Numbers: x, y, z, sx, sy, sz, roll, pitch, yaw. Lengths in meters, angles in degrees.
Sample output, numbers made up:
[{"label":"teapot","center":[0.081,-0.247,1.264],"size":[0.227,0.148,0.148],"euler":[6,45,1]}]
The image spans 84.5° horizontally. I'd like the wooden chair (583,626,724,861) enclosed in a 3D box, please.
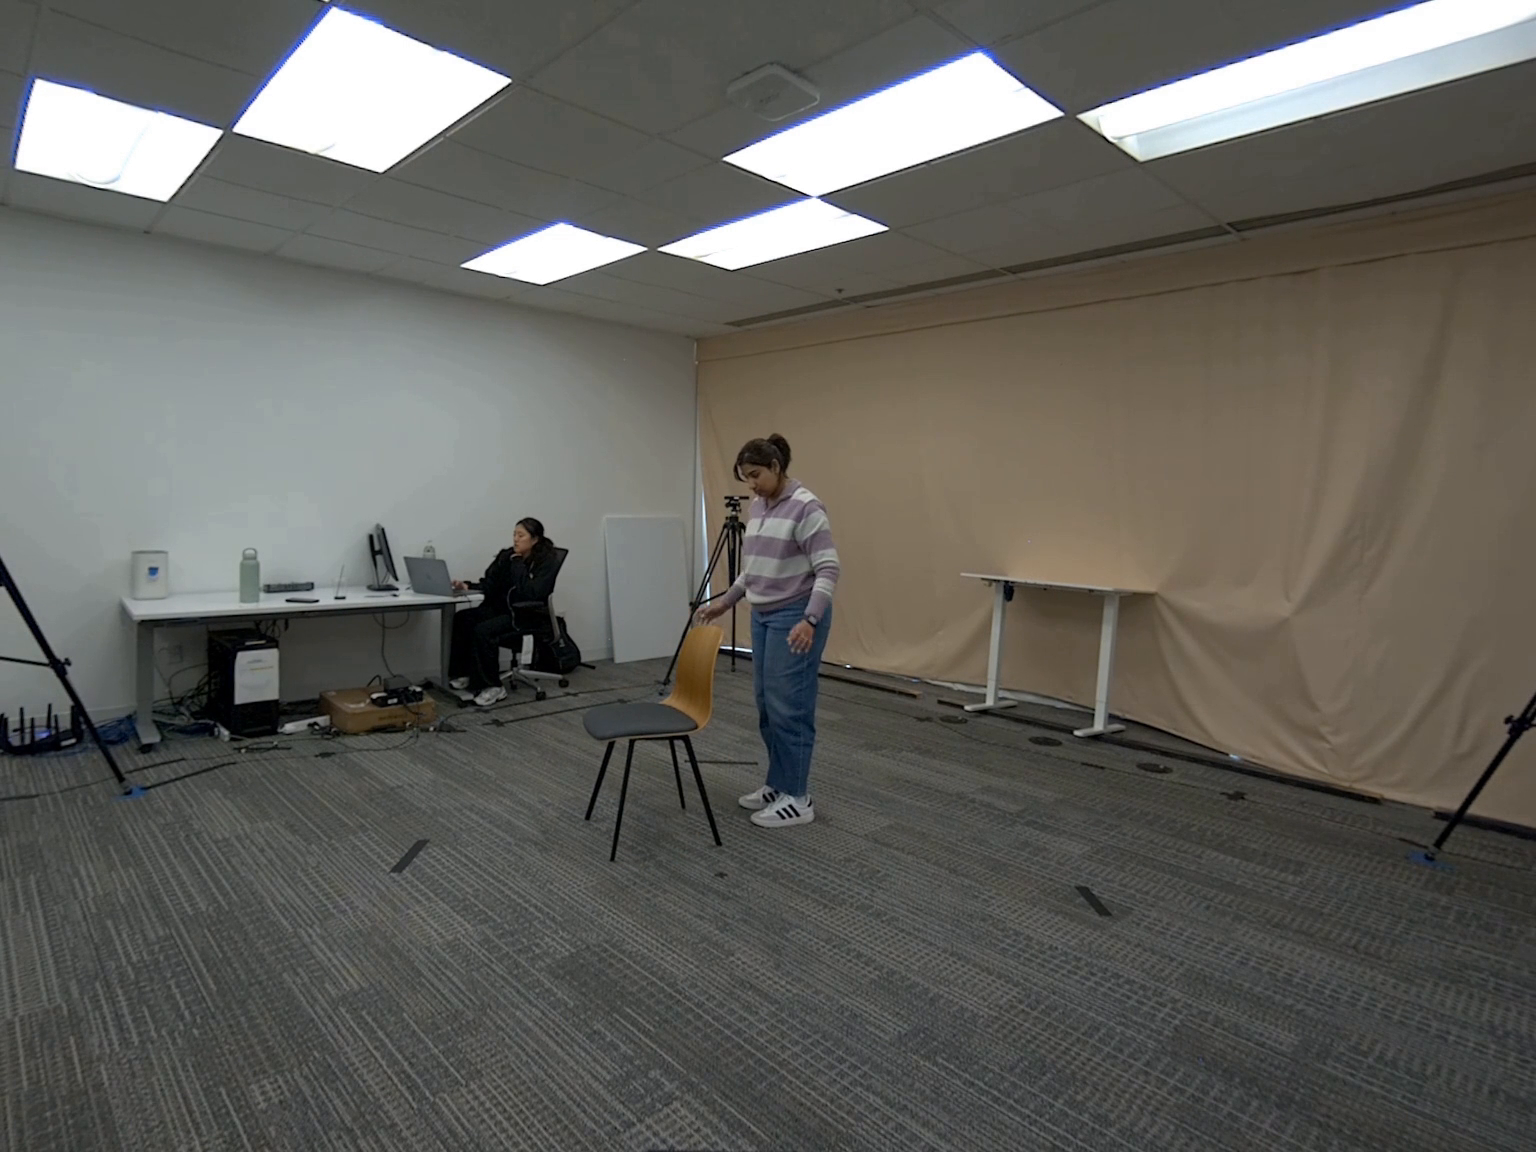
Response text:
[{"label":"wooden chair","center":[-0.488,0.638,3.447],"size":[0.513,0.876,0.487],"euler":[4,2,-24]}]
